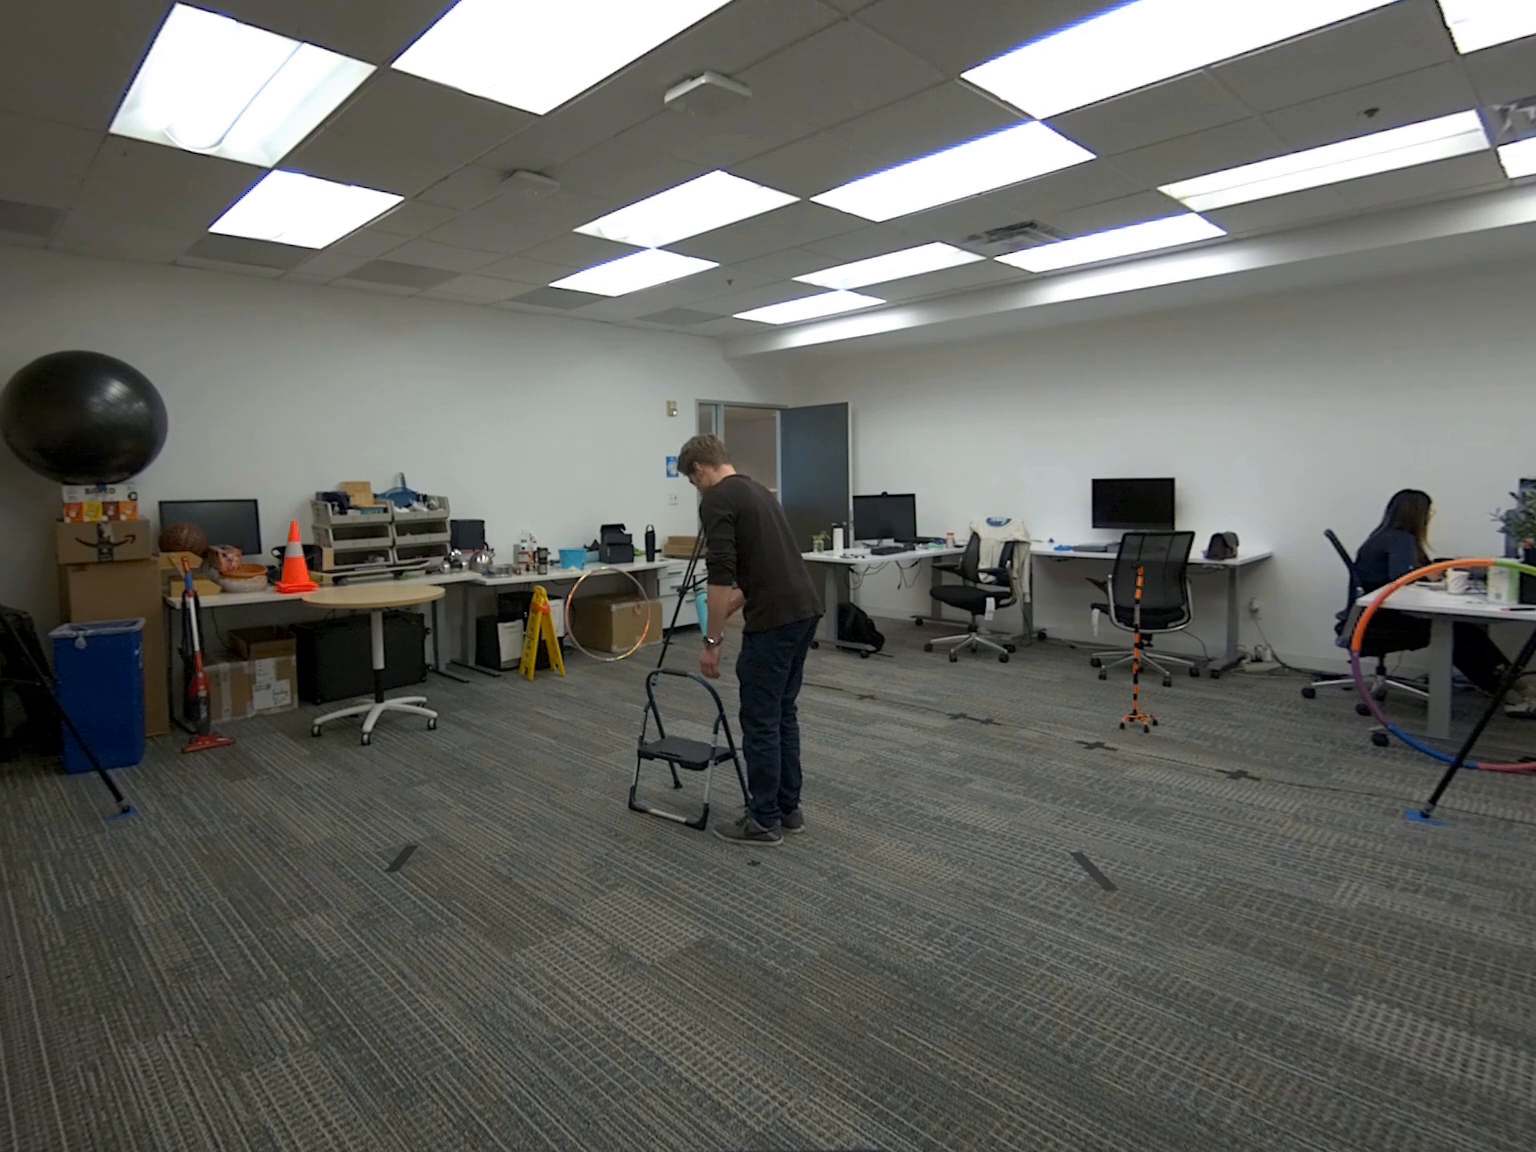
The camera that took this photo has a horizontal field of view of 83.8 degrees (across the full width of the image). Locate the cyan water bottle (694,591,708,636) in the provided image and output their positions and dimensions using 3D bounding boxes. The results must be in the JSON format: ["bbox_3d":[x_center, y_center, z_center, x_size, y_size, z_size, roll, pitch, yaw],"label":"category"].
[{"bbox_3d":[-0.268,0.173,3.800,0.092,0.292,0.090,-6,-40,-7],"label":"cyan water bottle"}]
